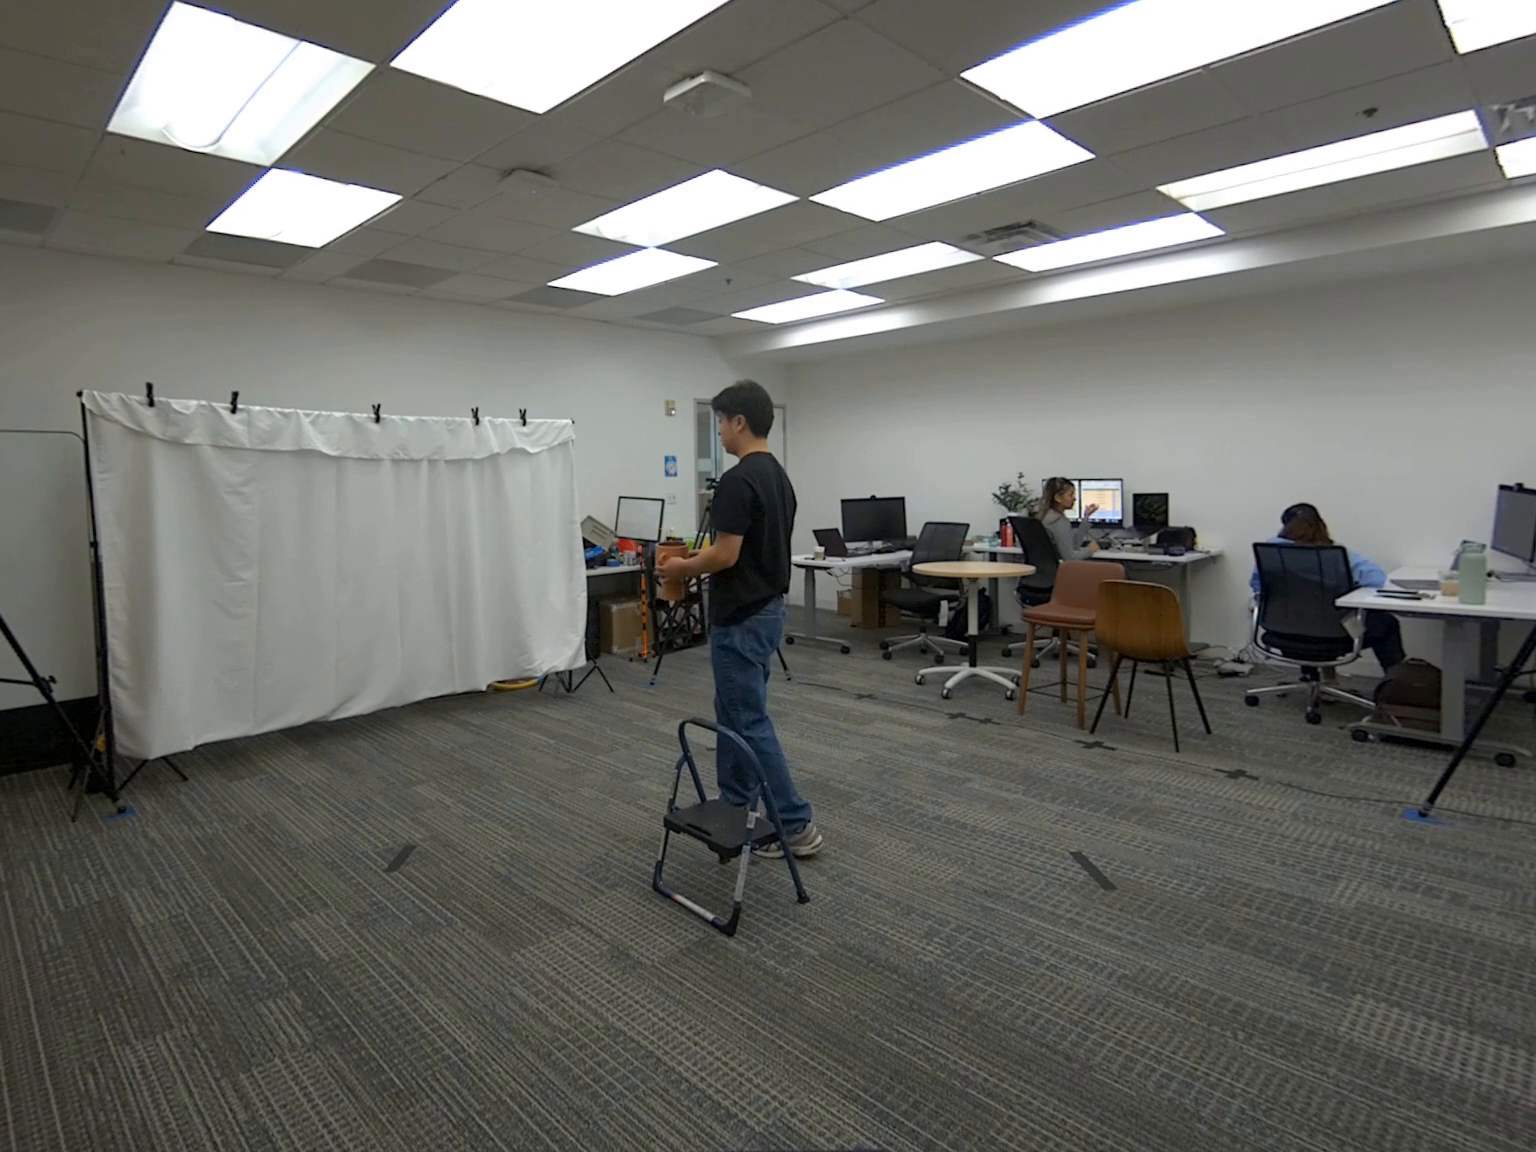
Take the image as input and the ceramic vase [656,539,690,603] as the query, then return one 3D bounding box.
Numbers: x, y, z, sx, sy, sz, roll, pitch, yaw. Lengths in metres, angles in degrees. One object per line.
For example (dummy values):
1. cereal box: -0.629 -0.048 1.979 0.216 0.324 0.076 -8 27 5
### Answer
1. ceramic vase: -0.374 -0.021 3.407 0.156 0.217 0.139 -4 13 -24
